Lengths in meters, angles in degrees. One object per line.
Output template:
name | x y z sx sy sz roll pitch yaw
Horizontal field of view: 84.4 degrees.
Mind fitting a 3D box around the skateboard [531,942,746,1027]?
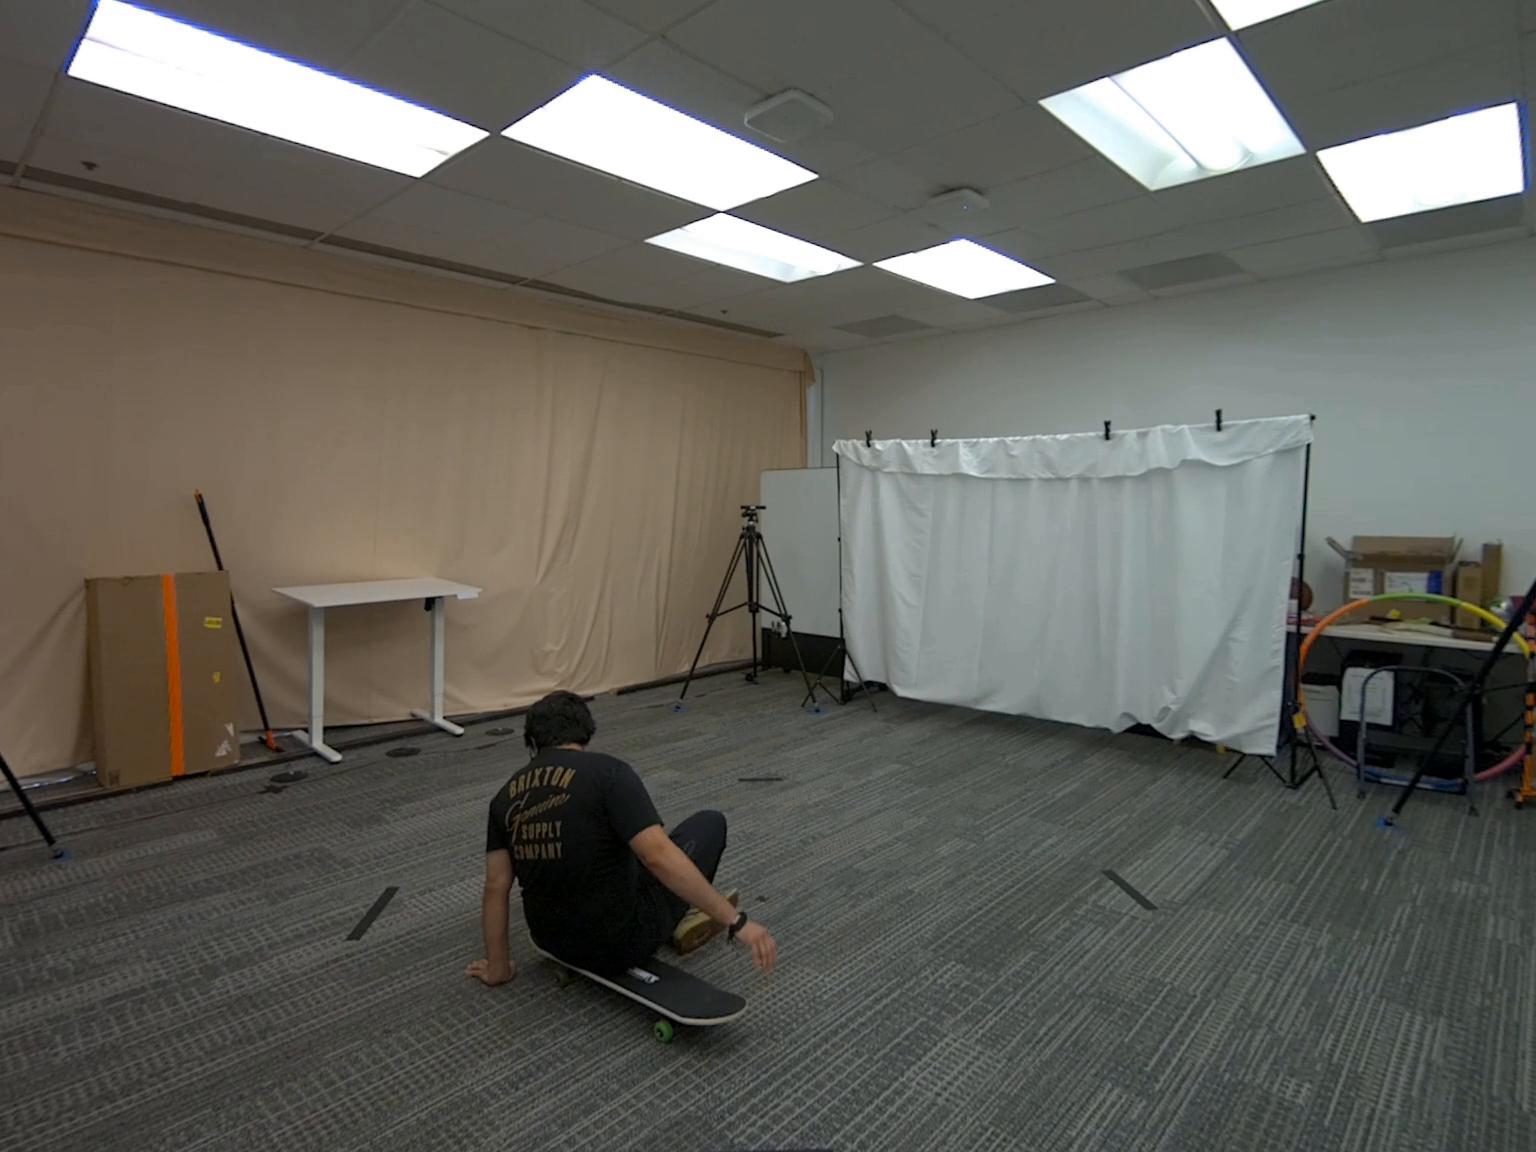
skateboard | -0.393 1.141 2.383 0.811 0.110 0.187 2 1 40
